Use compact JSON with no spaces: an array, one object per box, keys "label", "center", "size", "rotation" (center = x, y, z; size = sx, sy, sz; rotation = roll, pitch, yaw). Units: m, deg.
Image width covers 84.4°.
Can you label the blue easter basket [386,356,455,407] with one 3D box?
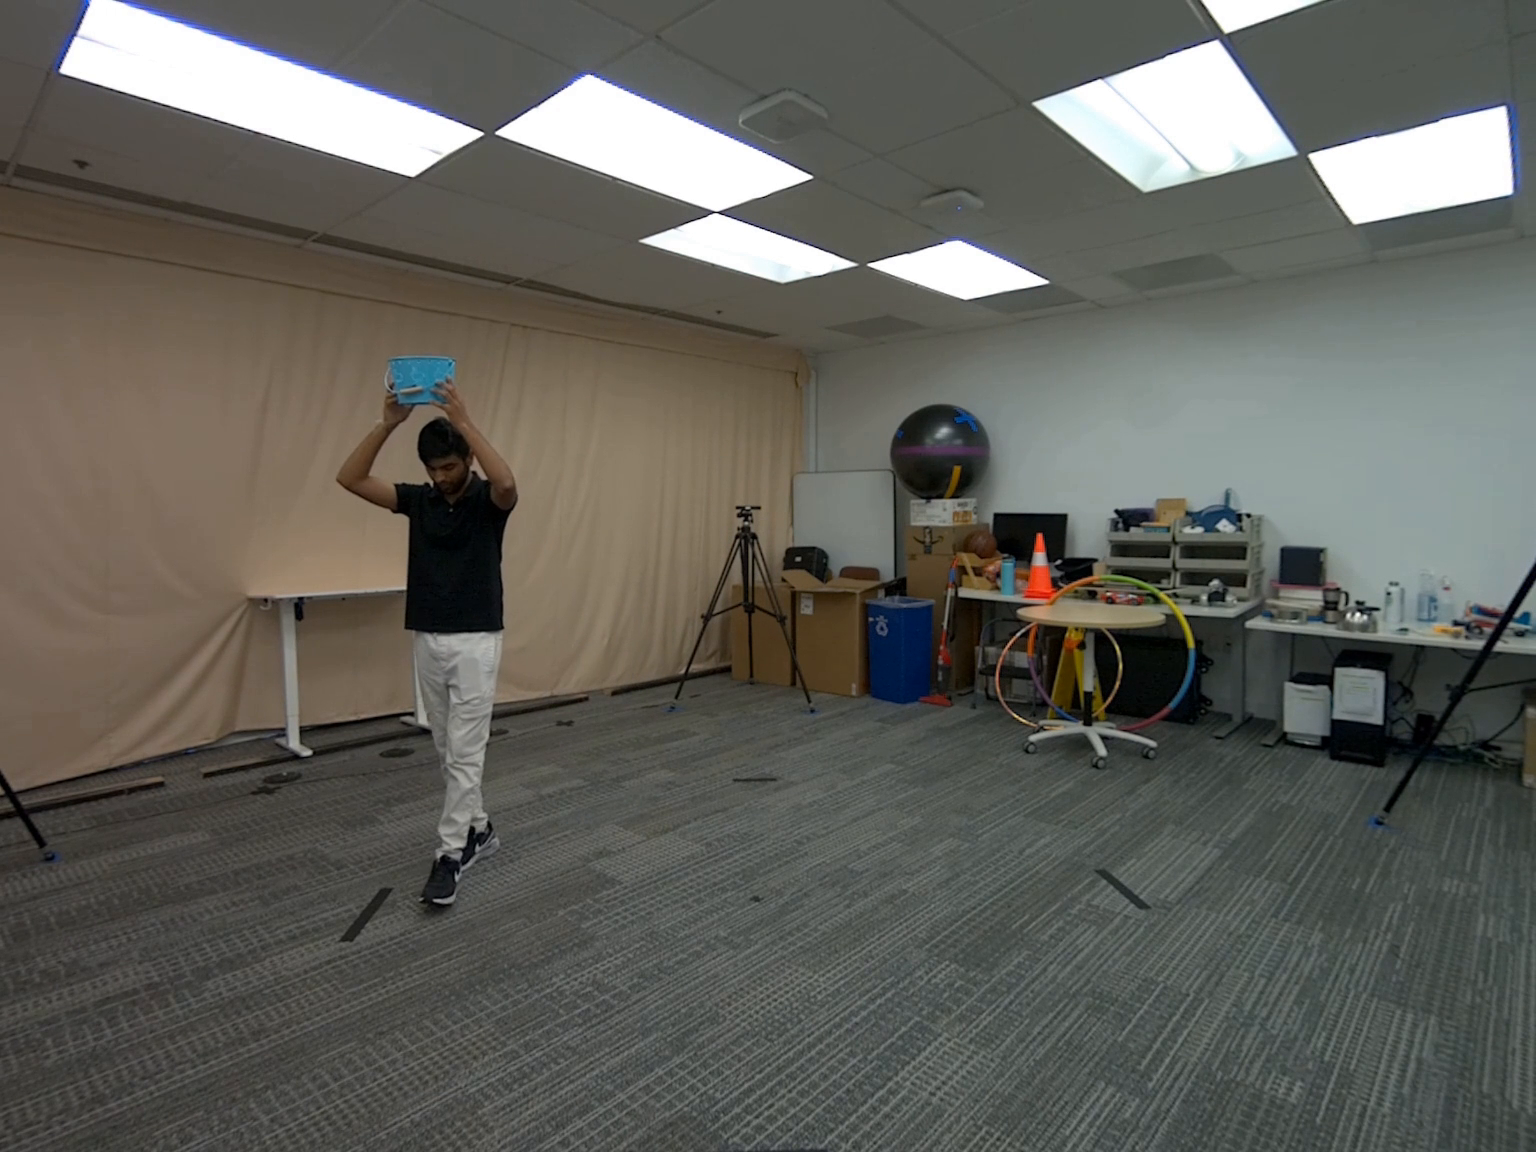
[{"label":"blue easter basket","center":[-1.227,-0.690,2.973],"size":[0.243,0.155,0.245],"rotation":[-2,6,-2]}]
